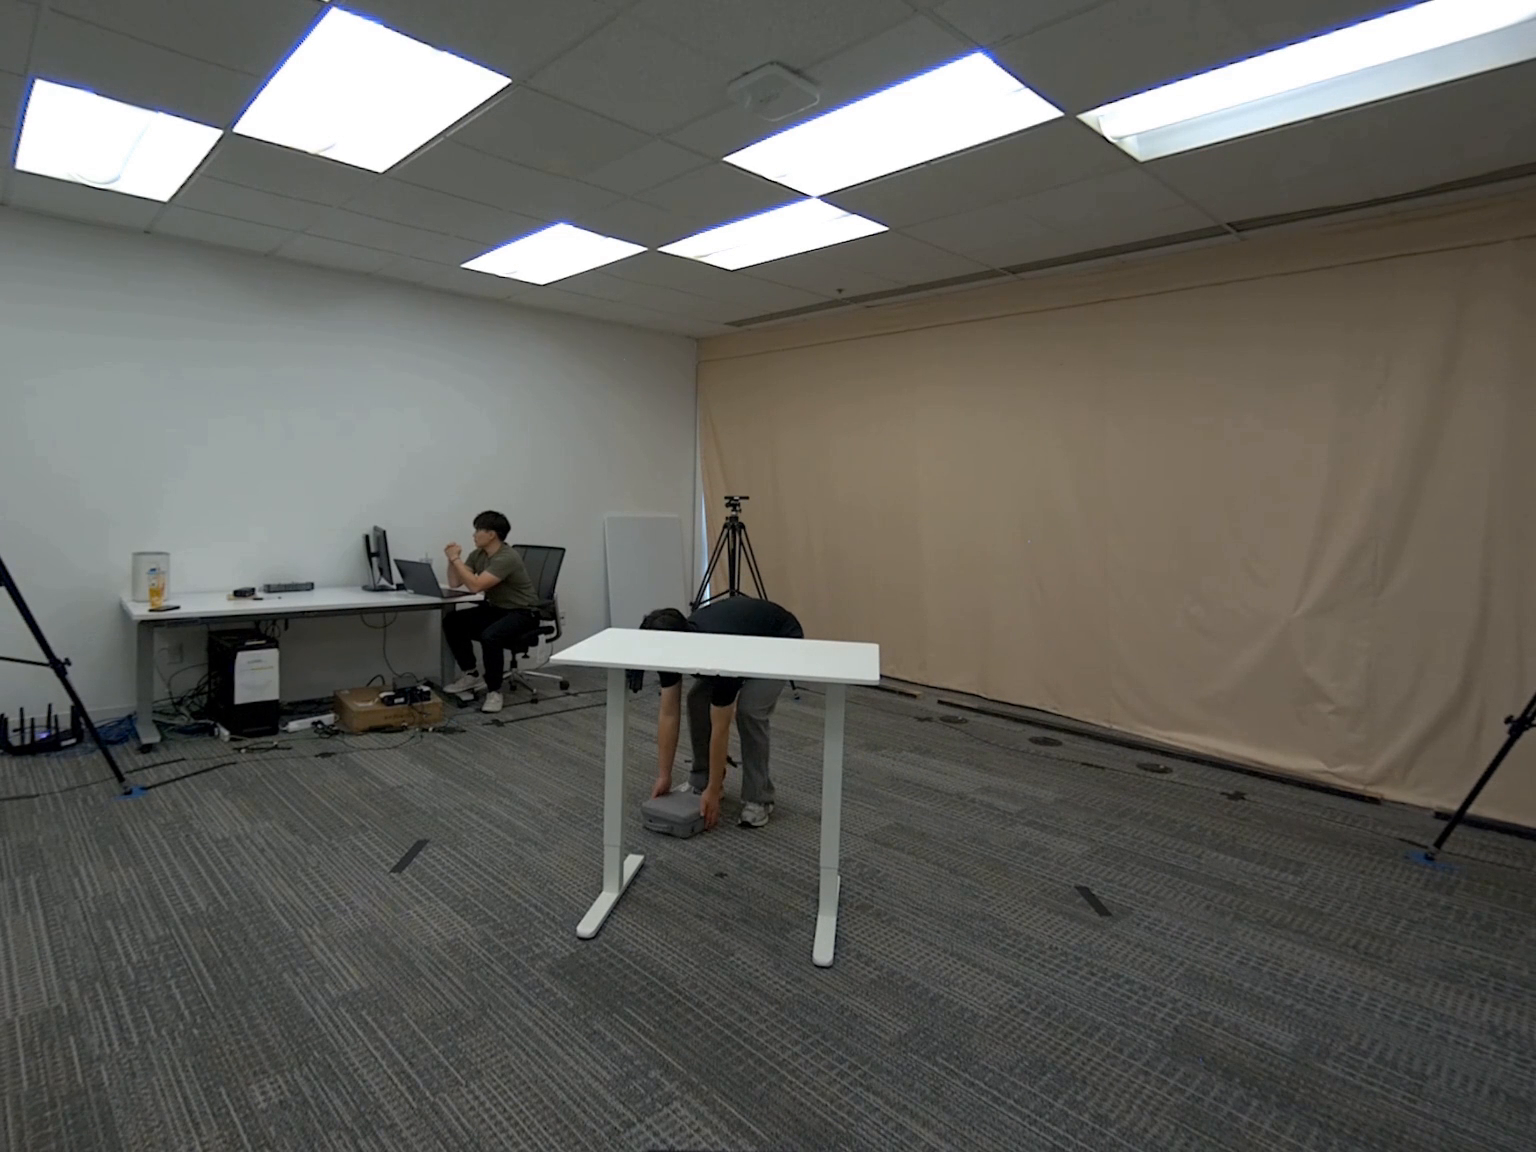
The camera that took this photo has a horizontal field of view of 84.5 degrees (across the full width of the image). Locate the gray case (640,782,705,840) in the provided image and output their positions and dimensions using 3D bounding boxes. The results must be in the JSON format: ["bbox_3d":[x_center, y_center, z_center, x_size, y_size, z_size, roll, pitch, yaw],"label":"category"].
[{"bbox_3d":[-0.387,0.998,3.552,0.269,0.103,0.281,3,5,32],"label":"gray case"}]
